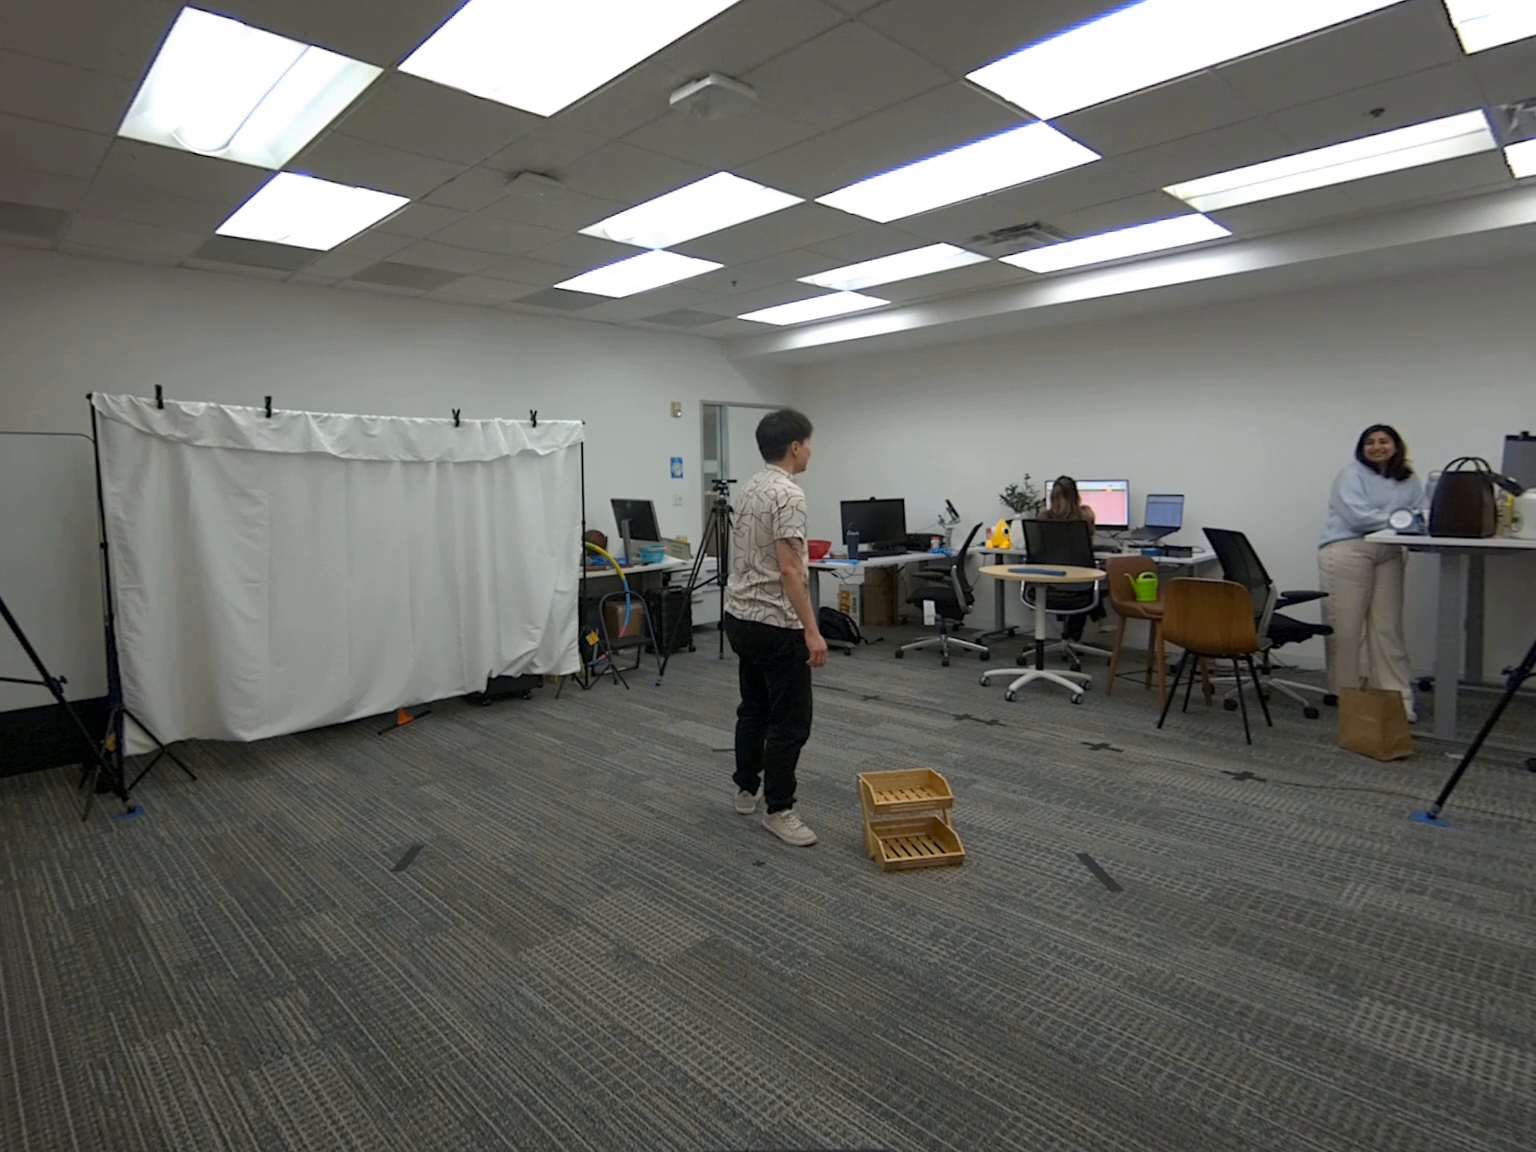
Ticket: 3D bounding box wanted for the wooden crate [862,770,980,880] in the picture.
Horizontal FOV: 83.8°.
[{"bbox_3d":[0.552,0.905,3.159,0.321,0.273,0.306,-2,3,-11],"label":"wooden crate"}]
